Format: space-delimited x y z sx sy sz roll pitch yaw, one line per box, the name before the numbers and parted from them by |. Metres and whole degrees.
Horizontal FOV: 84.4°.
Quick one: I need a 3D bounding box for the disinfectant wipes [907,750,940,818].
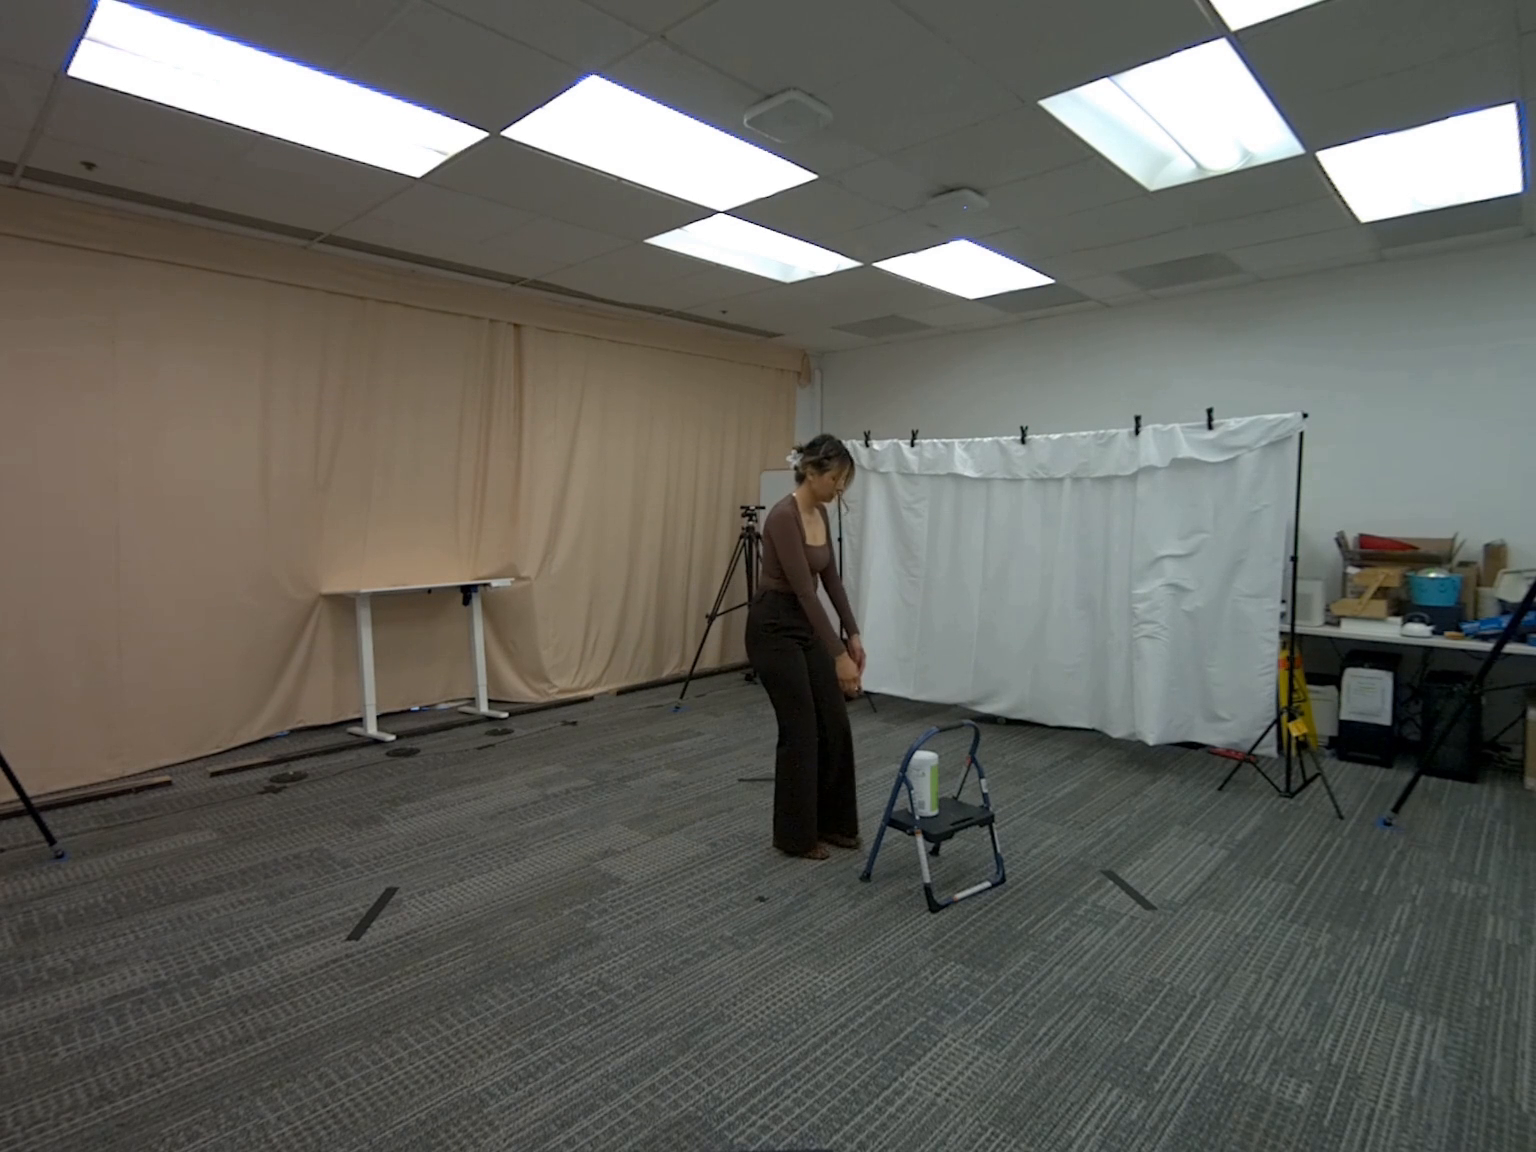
disinfectant wipes | 0.582 0.768 3.095 0.118 0.217 0.118 0 0 -2
